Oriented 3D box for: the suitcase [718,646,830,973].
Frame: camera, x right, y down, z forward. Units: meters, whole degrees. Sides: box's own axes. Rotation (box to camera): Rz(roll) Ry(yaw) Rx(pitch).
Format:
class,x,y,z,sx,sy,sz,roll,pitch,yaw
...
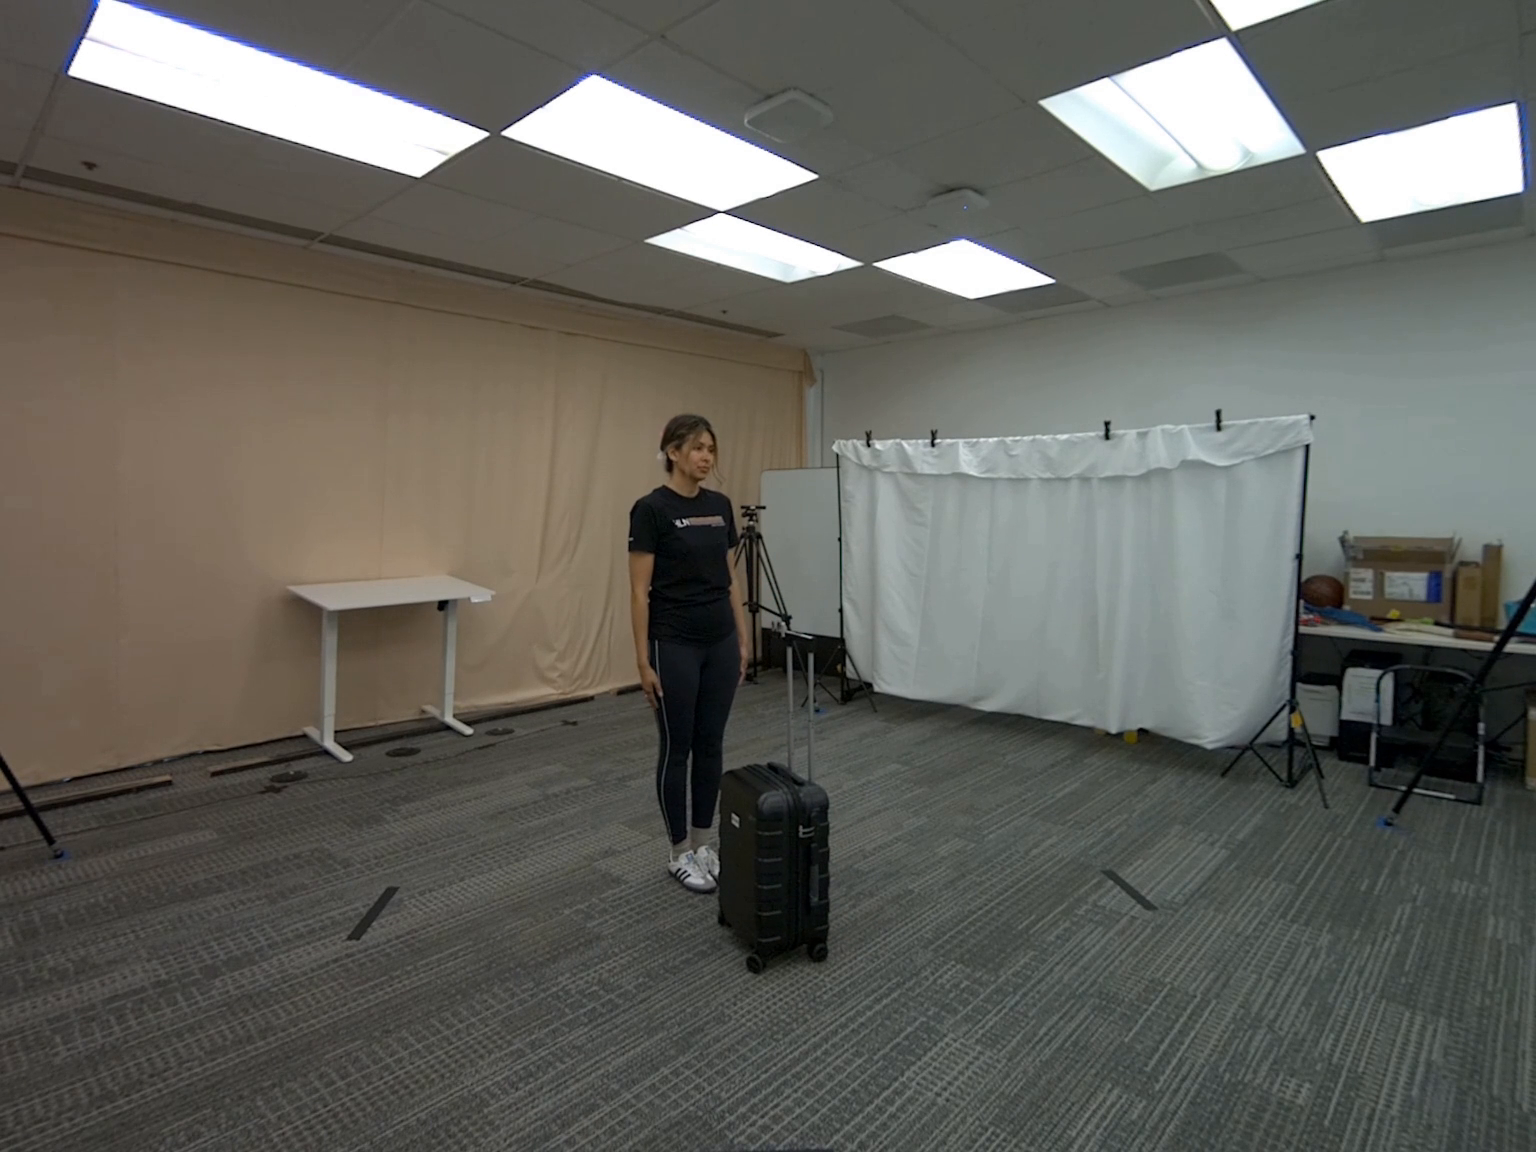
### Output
class,x,y,z,sx,sy,sz,roll,pitch,yaw
suitcase,0.018,0.697,2.664,0.252,0.977,0.392,-2,2,-21
